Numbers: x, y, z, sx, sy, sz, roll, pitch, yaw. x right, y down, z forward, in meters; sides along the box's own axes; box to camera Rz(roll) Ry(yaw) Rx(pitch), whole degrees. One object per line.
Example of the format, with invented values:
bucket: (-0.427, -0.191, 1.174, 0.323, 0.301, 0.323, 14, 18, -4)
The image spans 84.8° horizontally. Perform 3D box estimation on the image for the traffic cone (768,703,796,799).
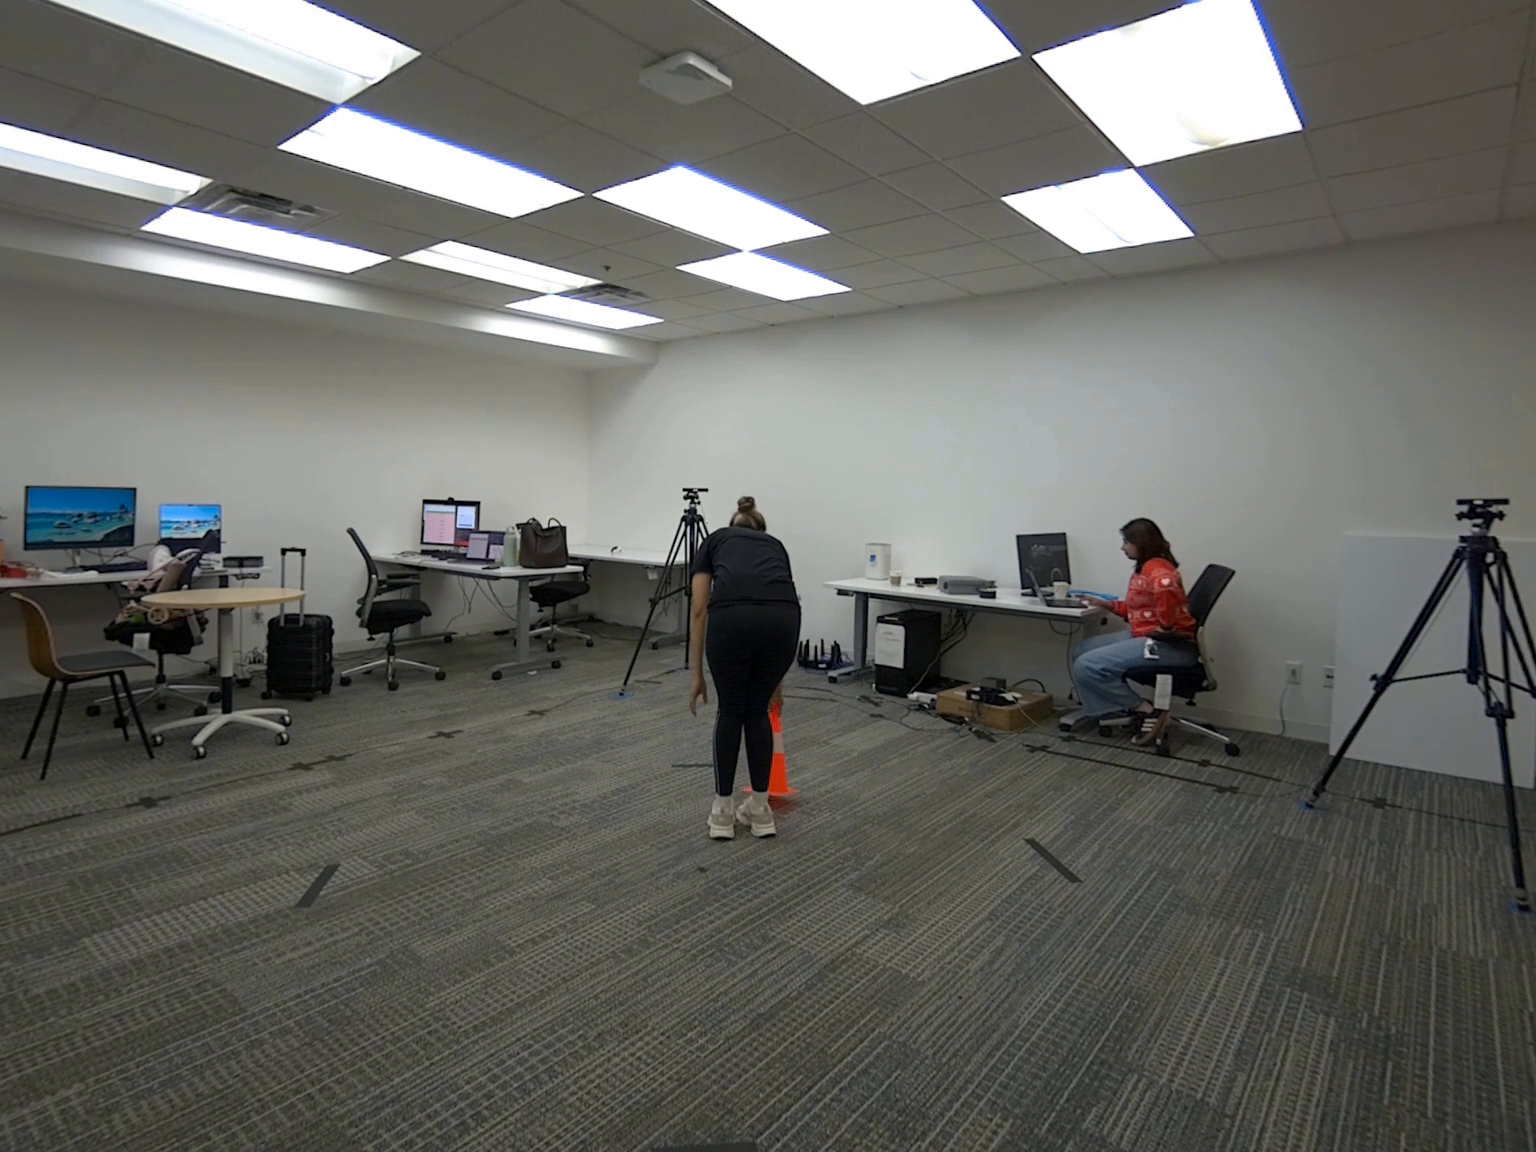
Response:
traffic cone: (0.009, 0.756, 3.814, 0.211, 0.385, 0.196, 1, -4, 35)
